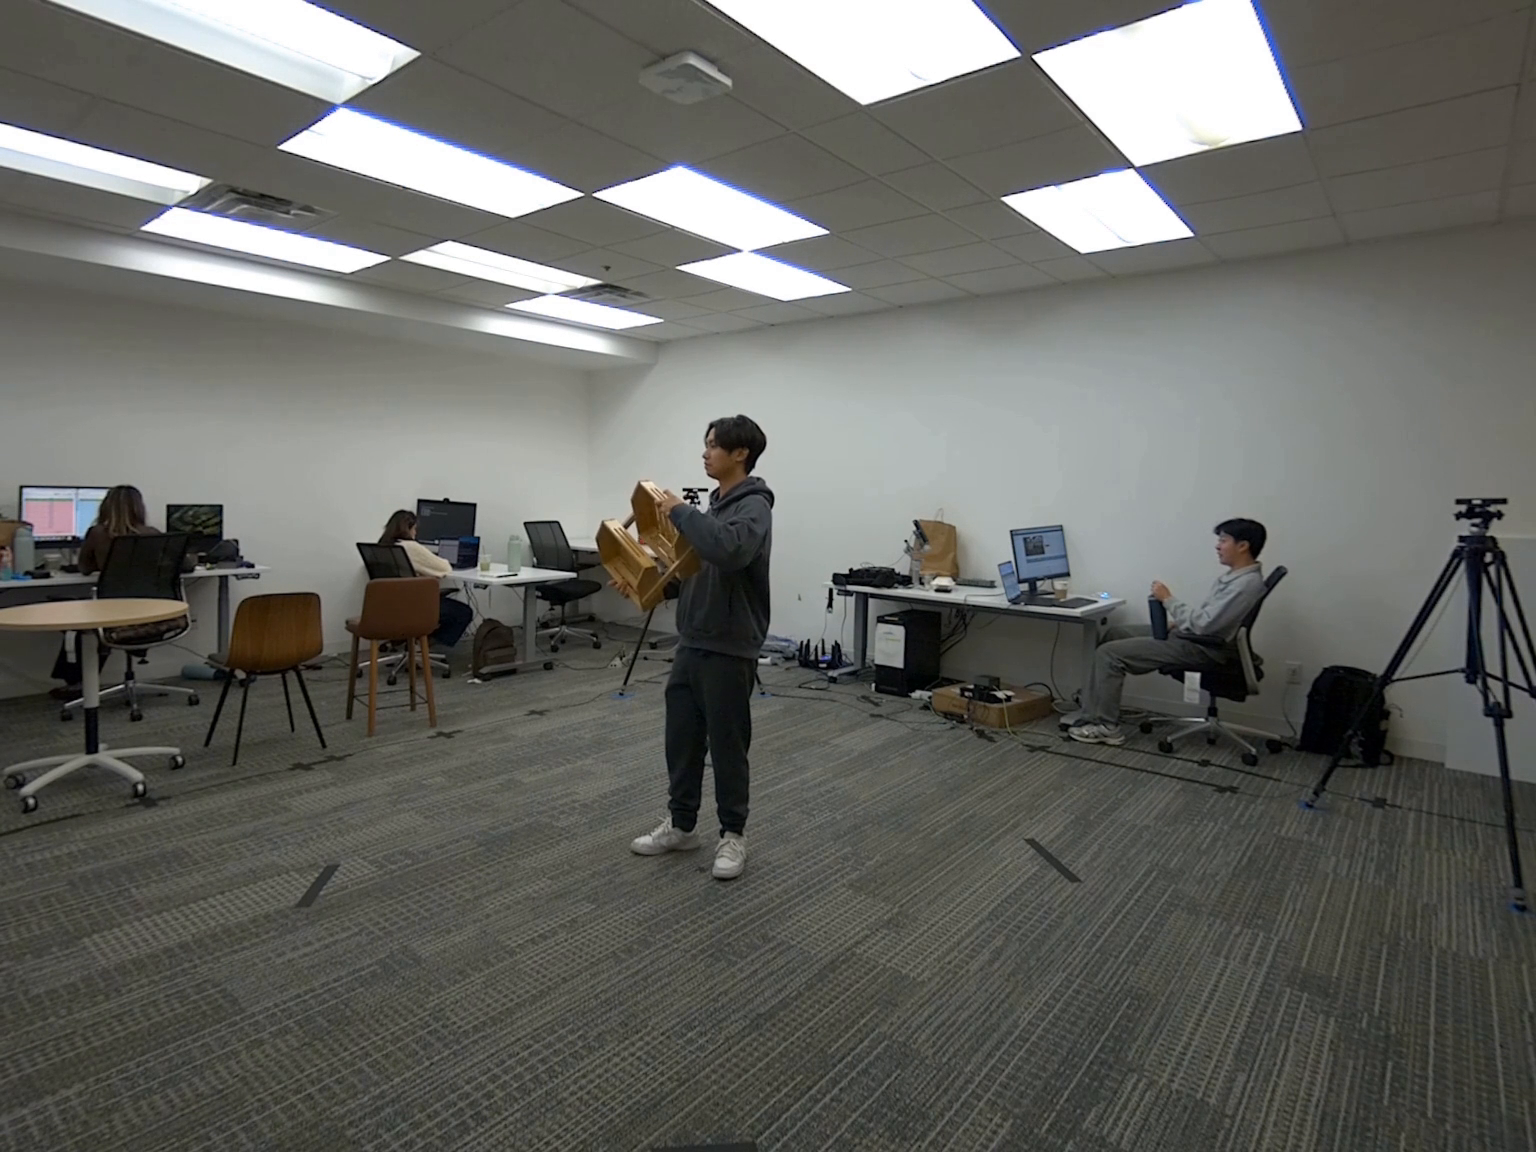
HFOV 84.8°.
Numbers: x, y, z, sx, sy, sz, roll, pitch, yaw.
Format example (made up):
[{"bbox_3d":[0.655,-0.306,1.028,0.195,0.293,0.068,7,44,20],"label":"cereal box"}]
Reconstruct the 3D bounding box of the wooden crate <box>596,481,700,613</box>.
[{"bbox_3d":[-0.456,-0.121,3.049,0.271,0.292,0.338,-30,51,-21],"label":"wooden crate"}]
